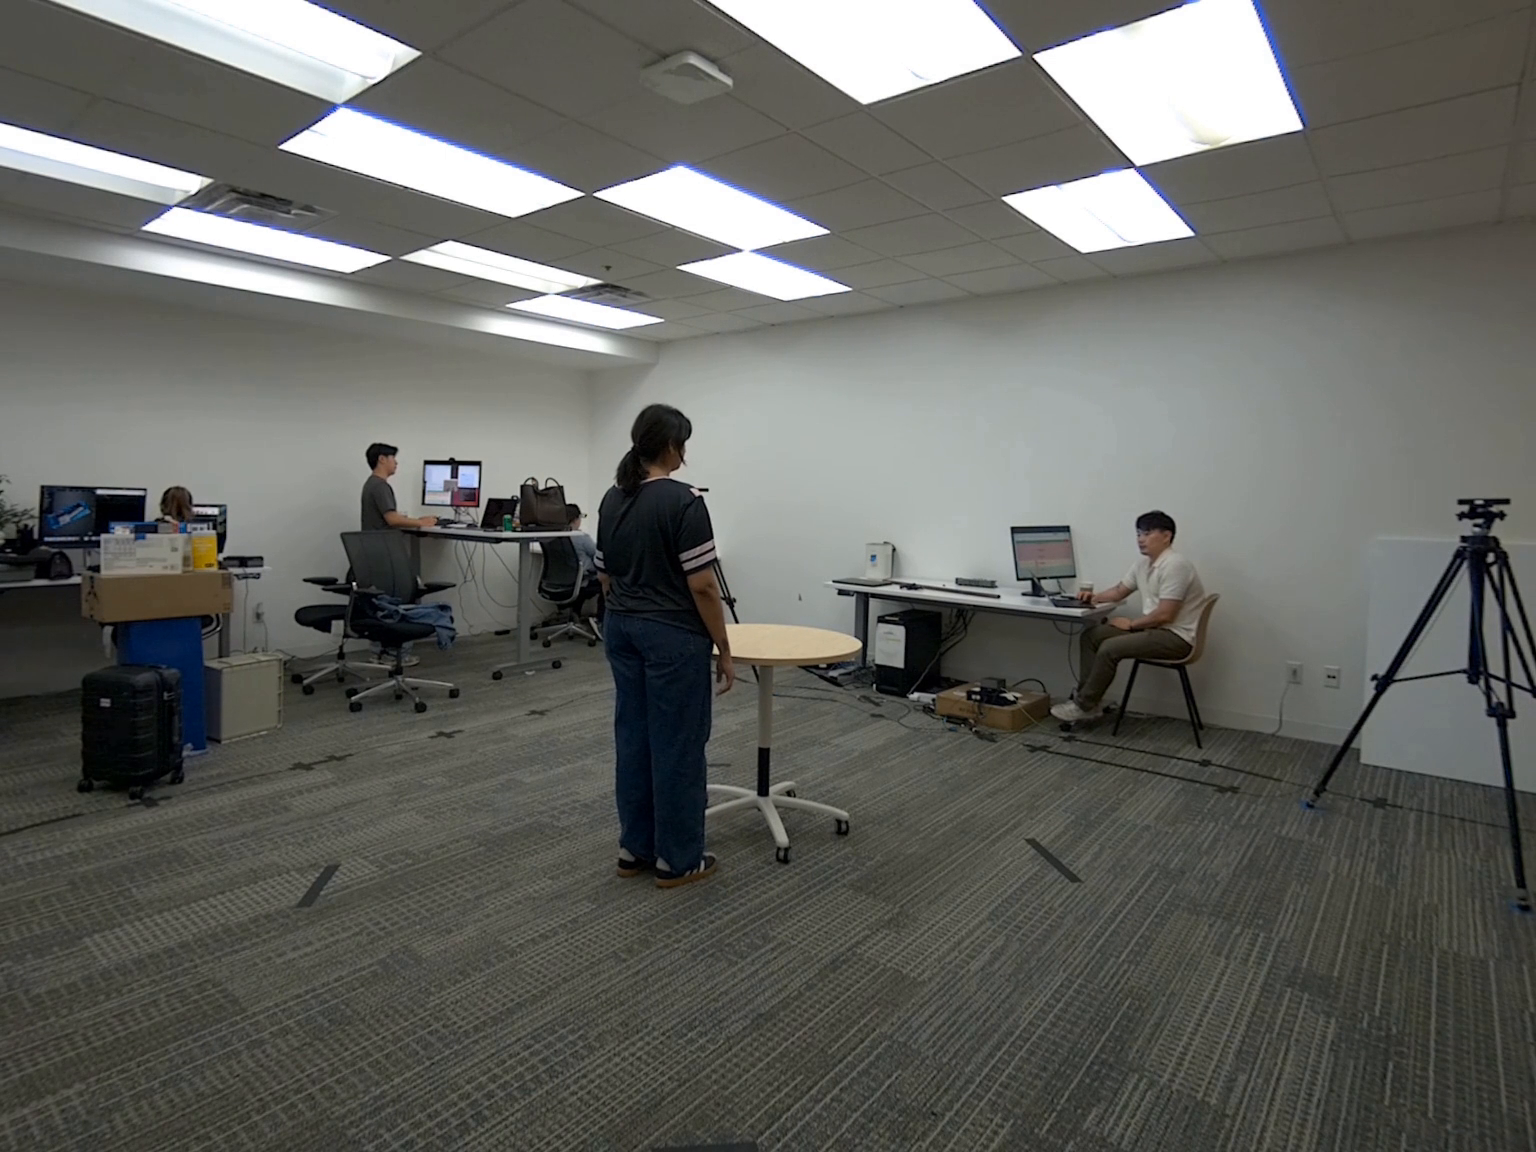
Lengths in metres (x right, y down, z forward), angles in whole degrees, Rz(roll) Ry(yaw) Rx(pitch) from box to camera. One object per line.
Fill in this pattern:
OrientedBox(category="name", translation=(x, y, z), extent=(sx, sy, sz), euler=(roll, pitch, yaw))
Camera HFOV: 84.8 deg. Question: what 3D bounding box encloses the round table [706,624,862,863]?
OrientedBox(category="round table", translation=(-0.035, 0.643, 3.481), extent=(0.784, 0.784, 0.789), euler=(2, 4, -2))
